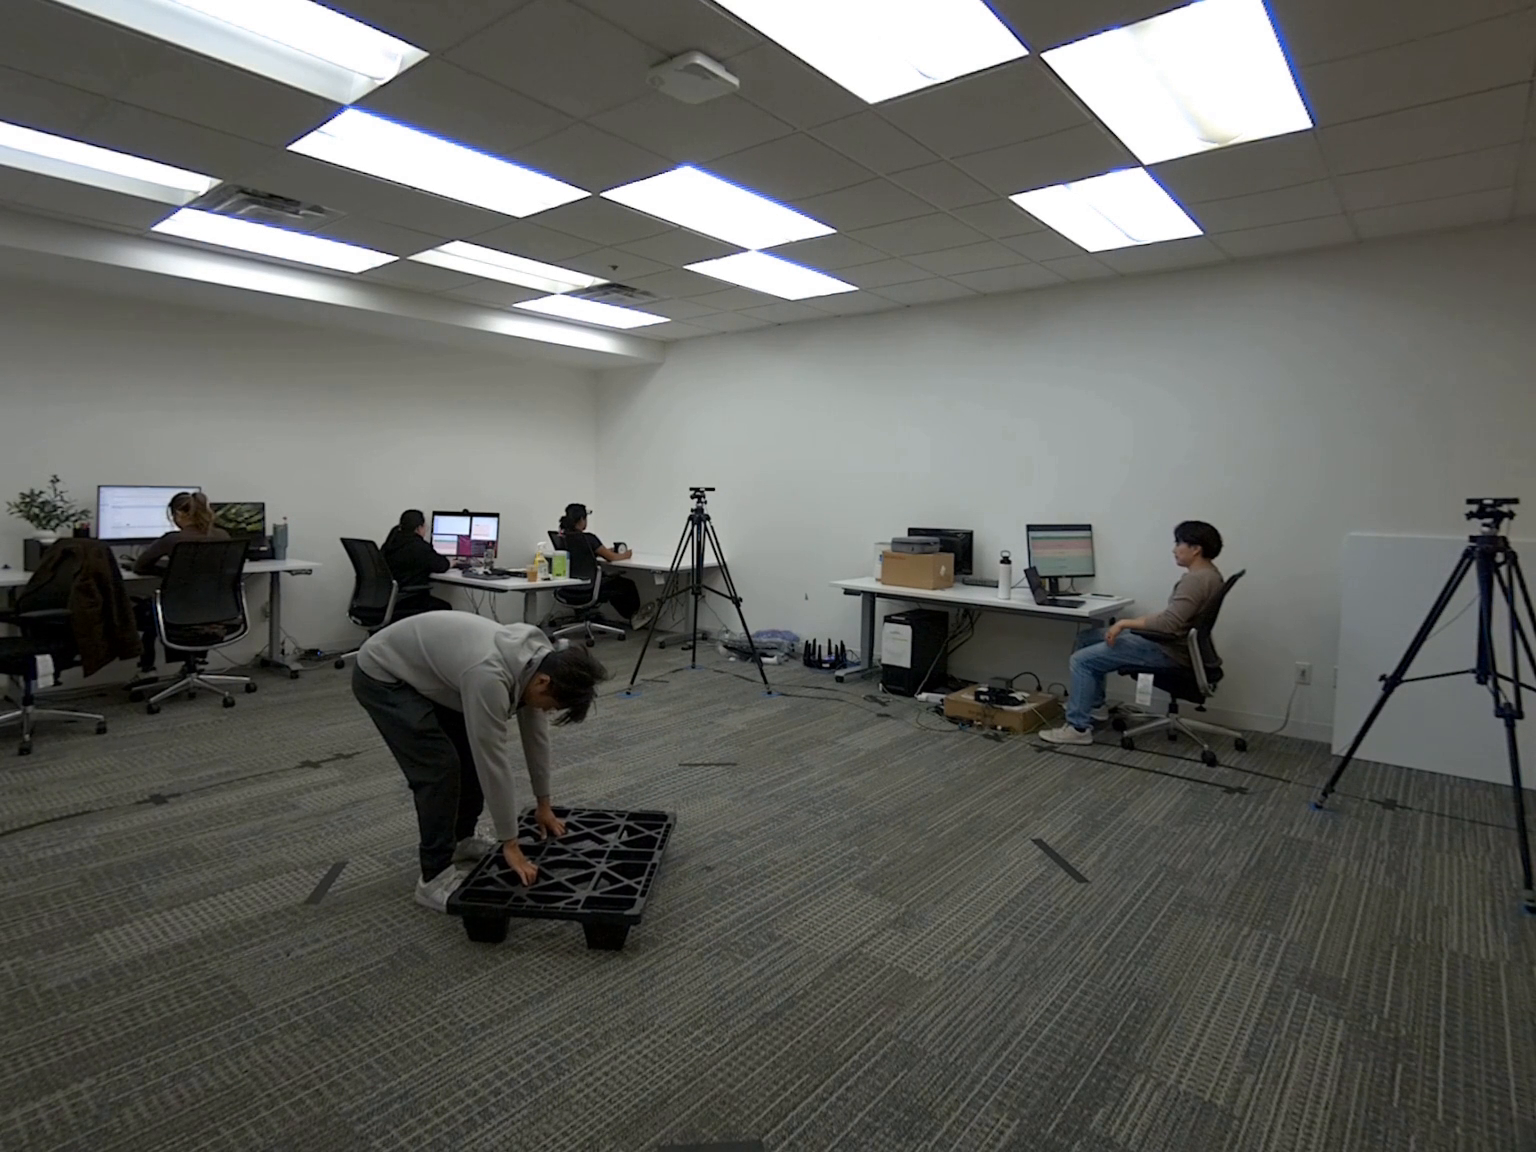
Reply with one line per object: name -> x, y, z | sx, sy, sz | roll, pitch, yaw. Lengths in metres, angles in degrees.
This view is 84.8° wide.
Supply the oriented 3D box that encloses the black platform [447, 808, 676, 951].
black platform -> -0.674, 1.009, 2.919 | 0.608, 0.143, 0.805 | 0, 6, 3
